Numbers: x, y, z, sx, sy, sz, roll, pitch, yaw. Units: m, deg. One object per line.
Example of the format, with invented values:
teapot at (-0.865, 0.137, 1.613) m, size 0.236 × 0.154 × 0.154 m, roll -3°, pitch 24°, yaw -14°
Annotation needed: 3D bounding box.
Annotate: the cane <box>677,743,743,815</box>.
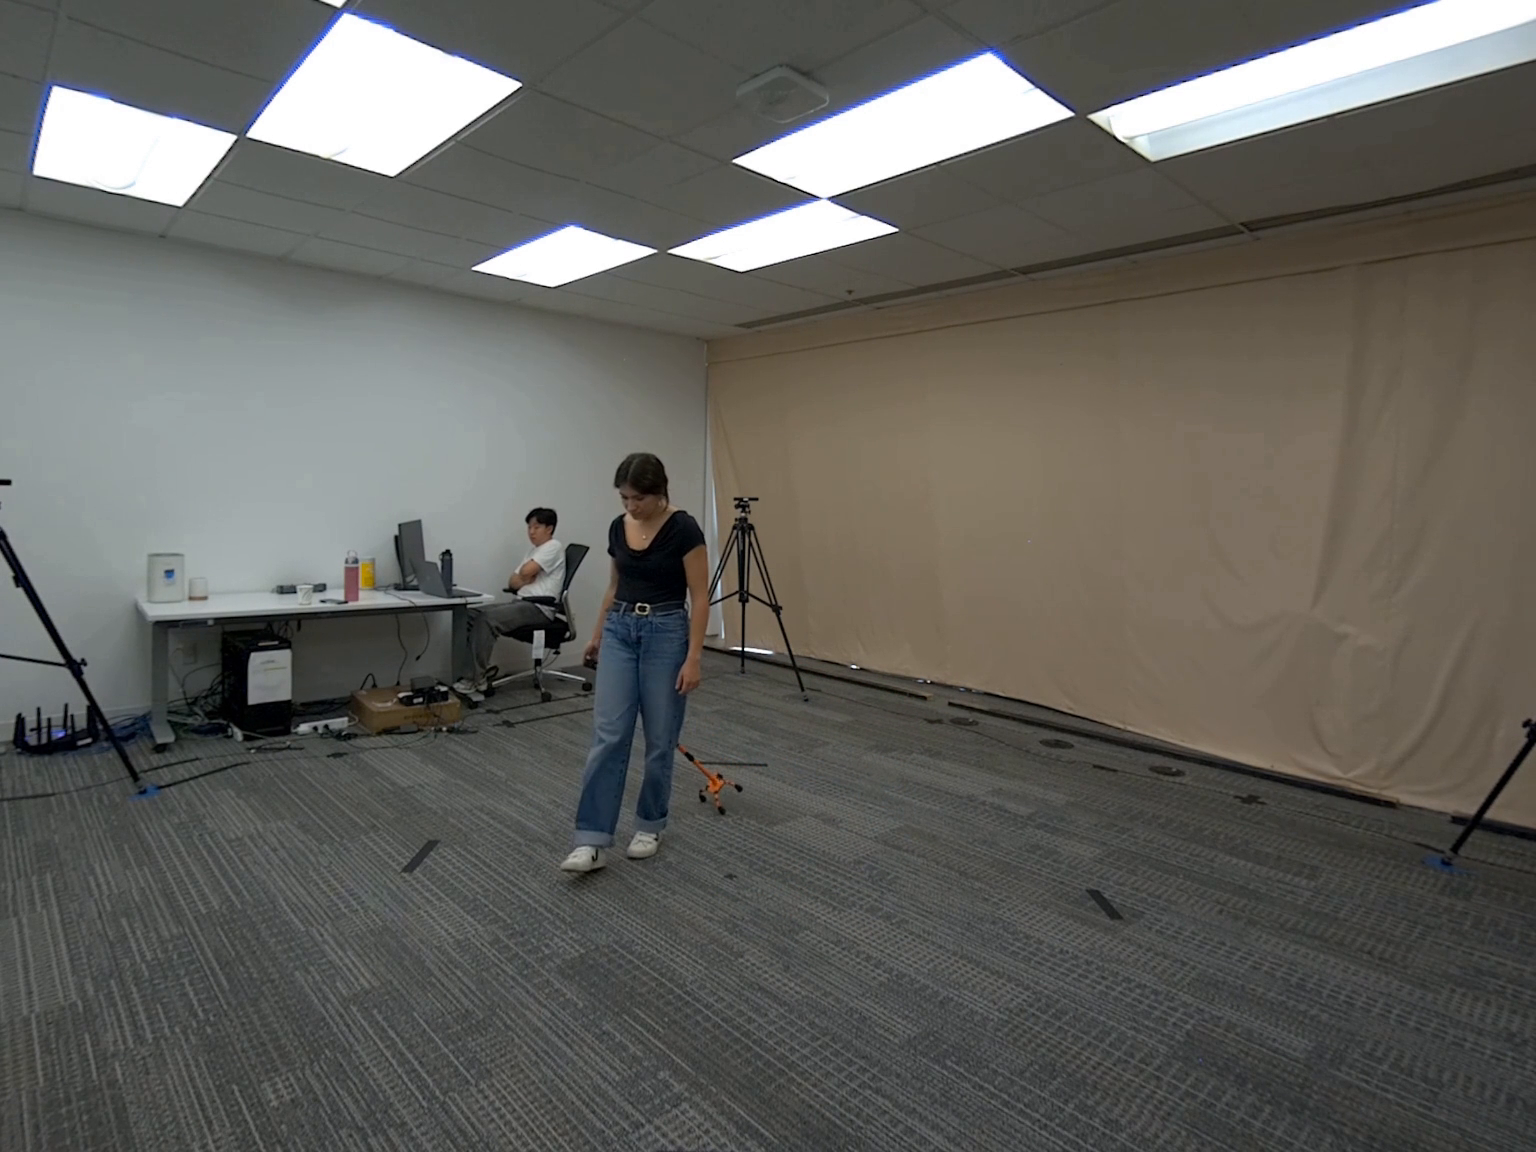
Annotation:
cane at (-0.475, 0.682, 3.644) m, size 0.151 × 0.887 × 0.211 m, roll -48°, pitch 24°, yaw -20°
